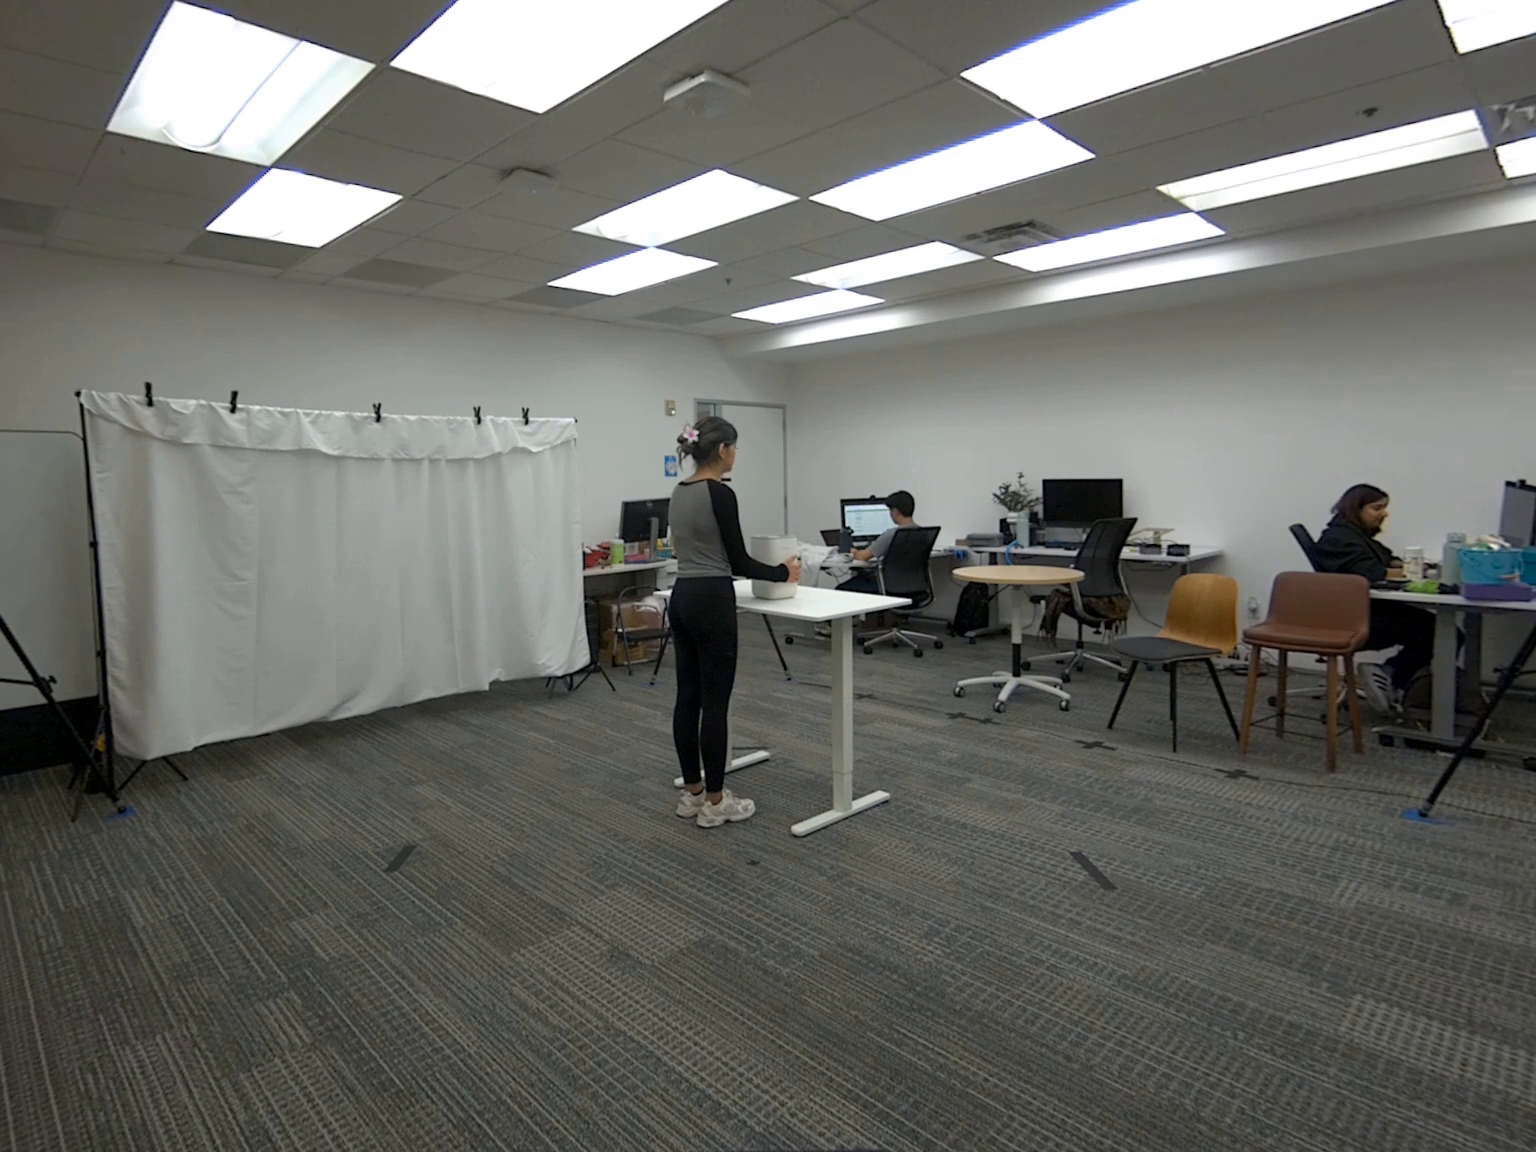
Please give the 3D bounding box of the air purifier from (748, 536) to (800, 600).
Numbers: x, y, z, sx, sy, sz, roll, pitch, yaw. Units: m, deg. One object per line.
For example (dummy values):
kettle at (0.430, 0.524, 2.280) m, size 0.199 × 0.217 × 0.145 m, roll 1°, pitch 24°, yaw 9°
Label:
air purifier at (0.025, -0.040, 3.688) m, size 0.167 × 0.264 × 0.177 m, roll -4°, pitch 6°, yaw -35°
